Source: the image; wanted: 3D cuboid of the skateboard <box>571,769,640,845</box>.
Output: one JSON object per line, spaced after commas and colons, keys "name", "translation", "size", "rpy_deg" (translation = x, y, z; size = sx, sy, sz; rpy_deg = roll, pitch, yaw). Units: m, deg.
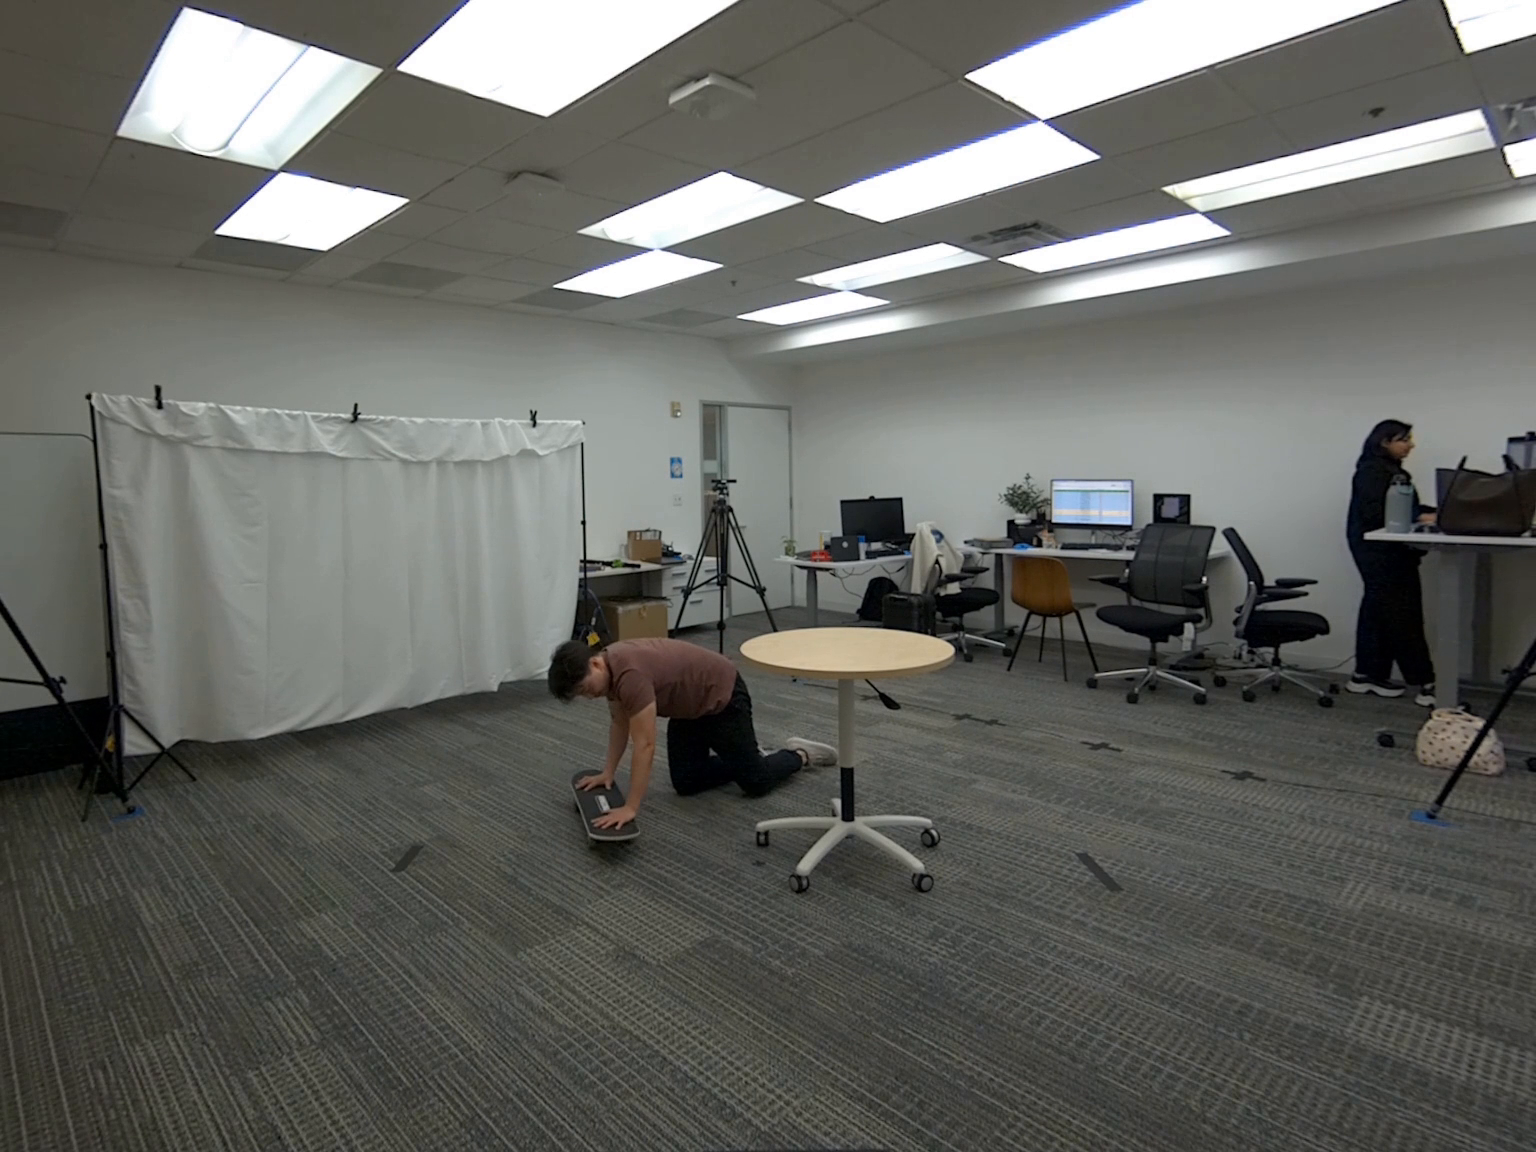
{"name": "skateboard", "translation": [-0.668, 0.959, 3.484], "size": [0.190, 0.110, 0.800], "rpy_deg": [-3, 5, -19]}
